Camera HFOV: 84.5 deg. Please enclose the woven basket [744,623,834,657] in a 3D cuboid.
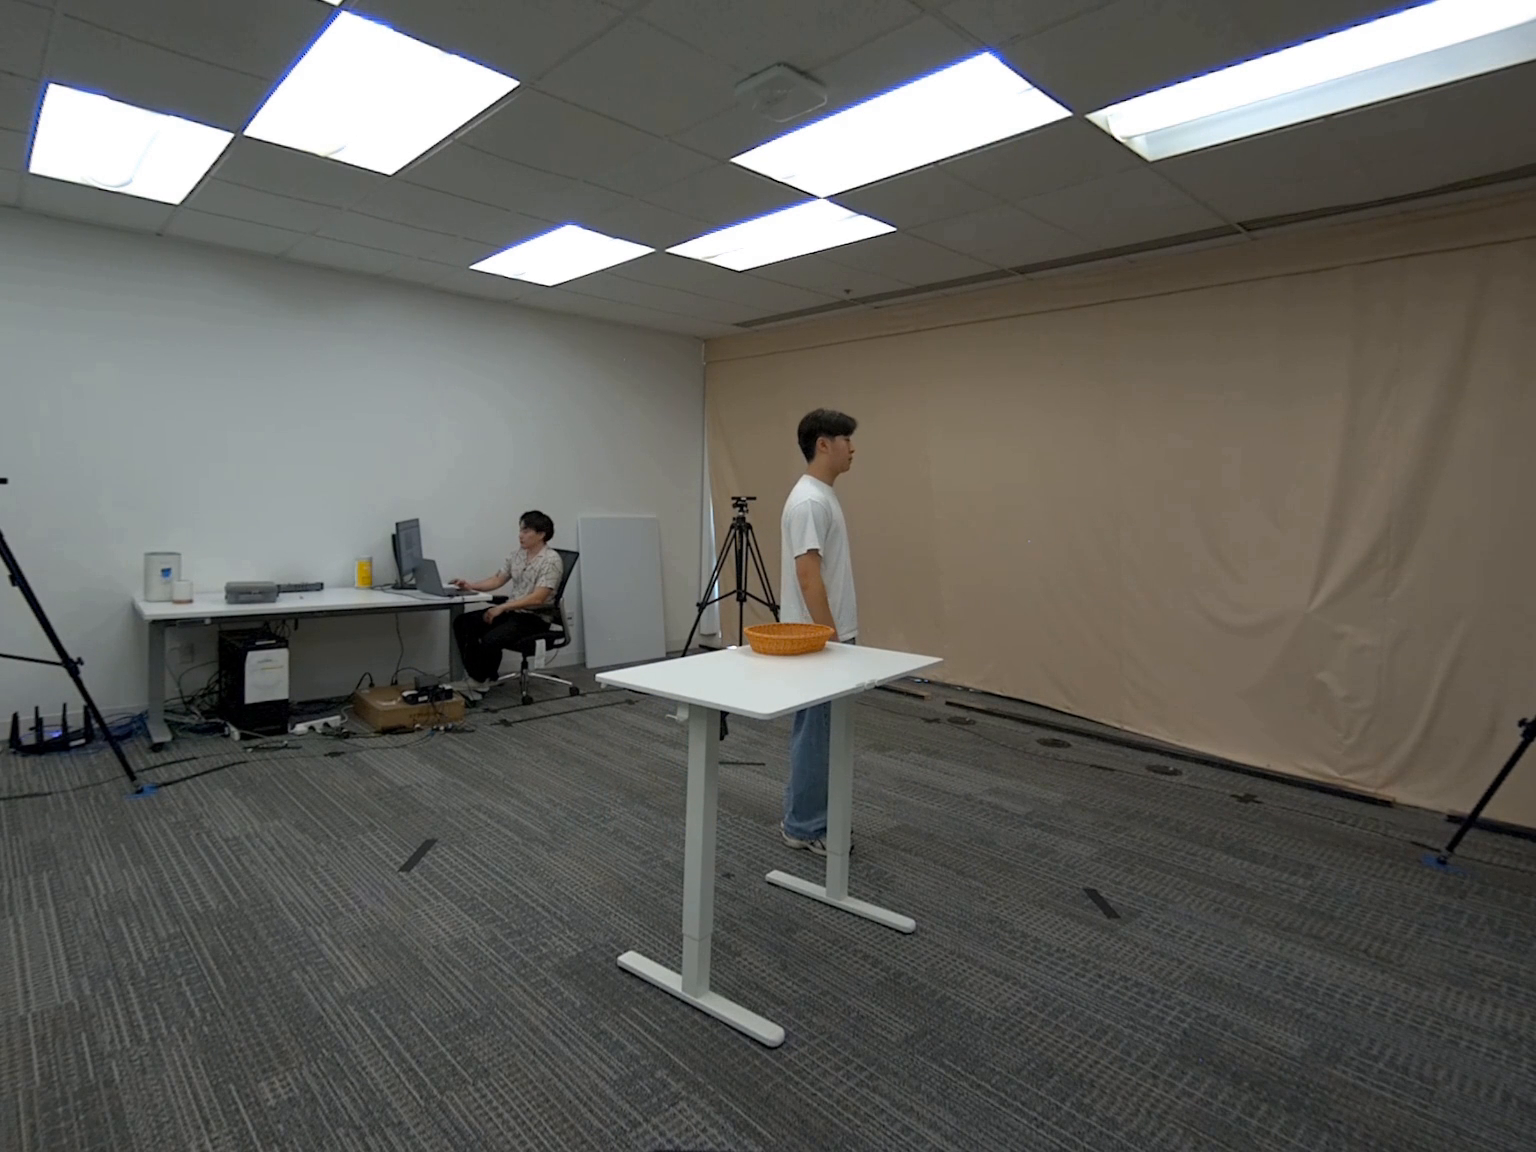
[{"bbox_3d":[0.061,0.224,2.856,0.259,0.073,0.342,6,6,44],"label":"woven basket"}]
